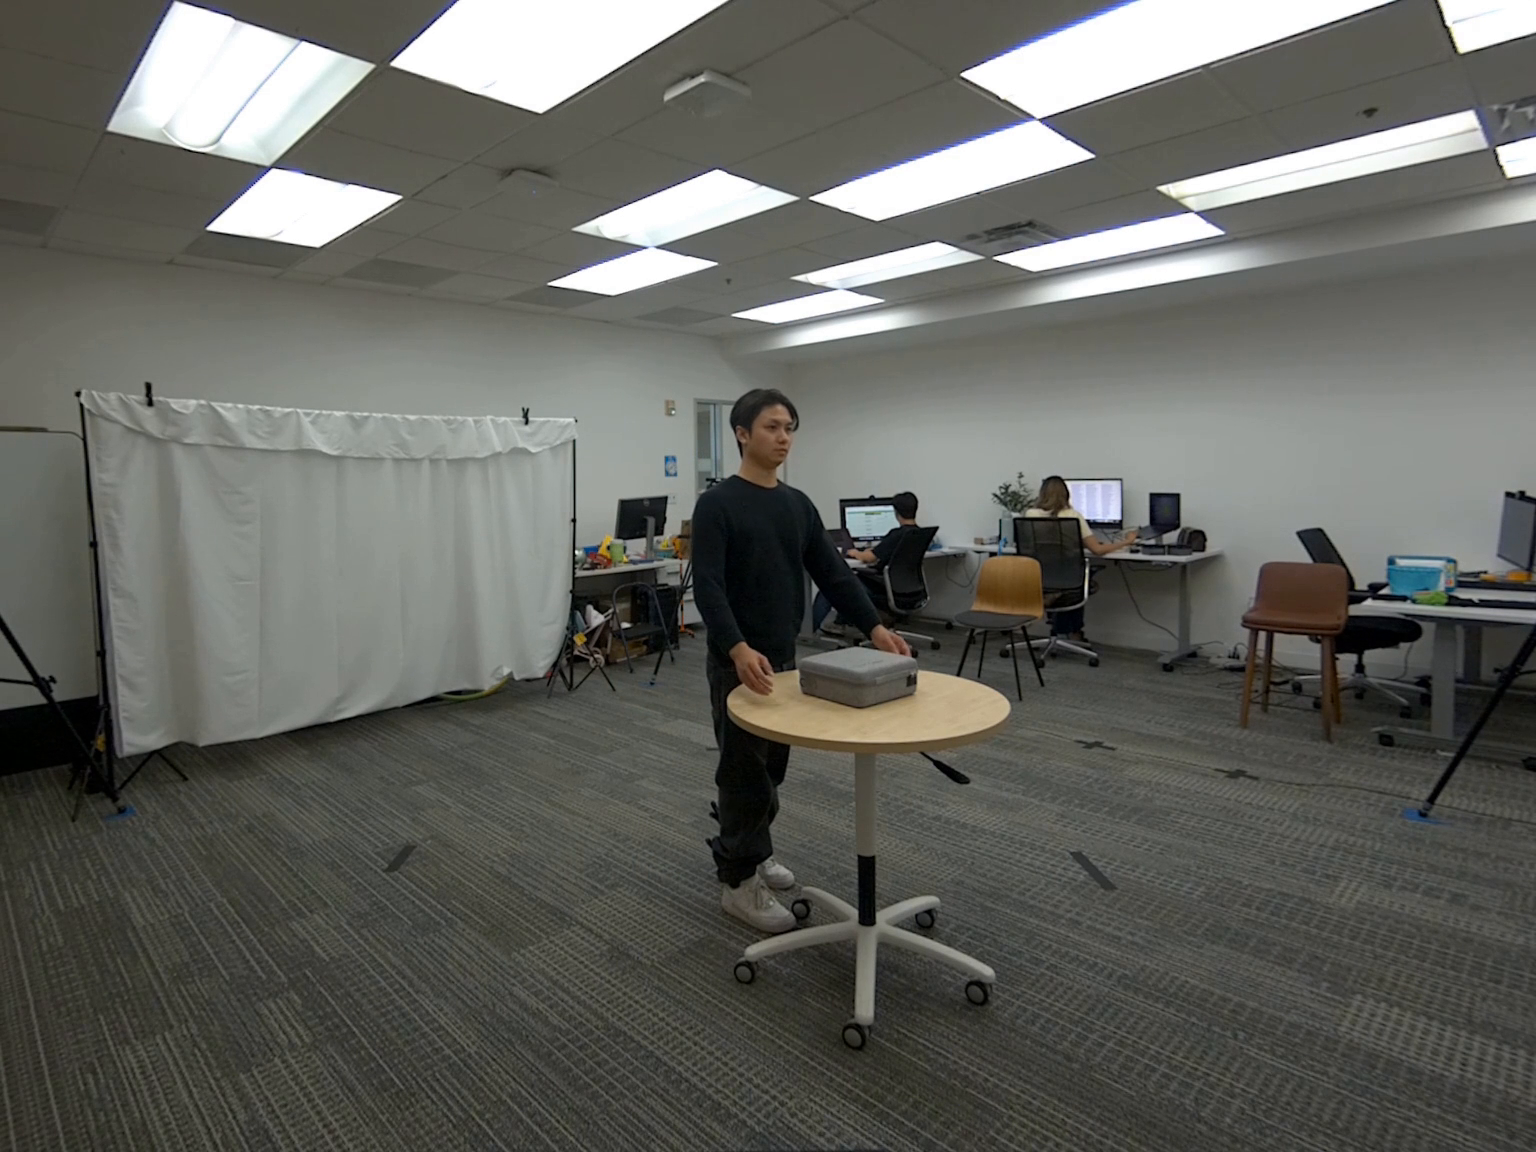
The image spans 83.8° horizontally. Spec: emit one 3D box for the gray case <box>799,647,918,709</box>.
[{"bbox_3d":[0.256,0.282,2.422,0.268,0.103,0.251,4,11,43],"label":"gray case"}]
